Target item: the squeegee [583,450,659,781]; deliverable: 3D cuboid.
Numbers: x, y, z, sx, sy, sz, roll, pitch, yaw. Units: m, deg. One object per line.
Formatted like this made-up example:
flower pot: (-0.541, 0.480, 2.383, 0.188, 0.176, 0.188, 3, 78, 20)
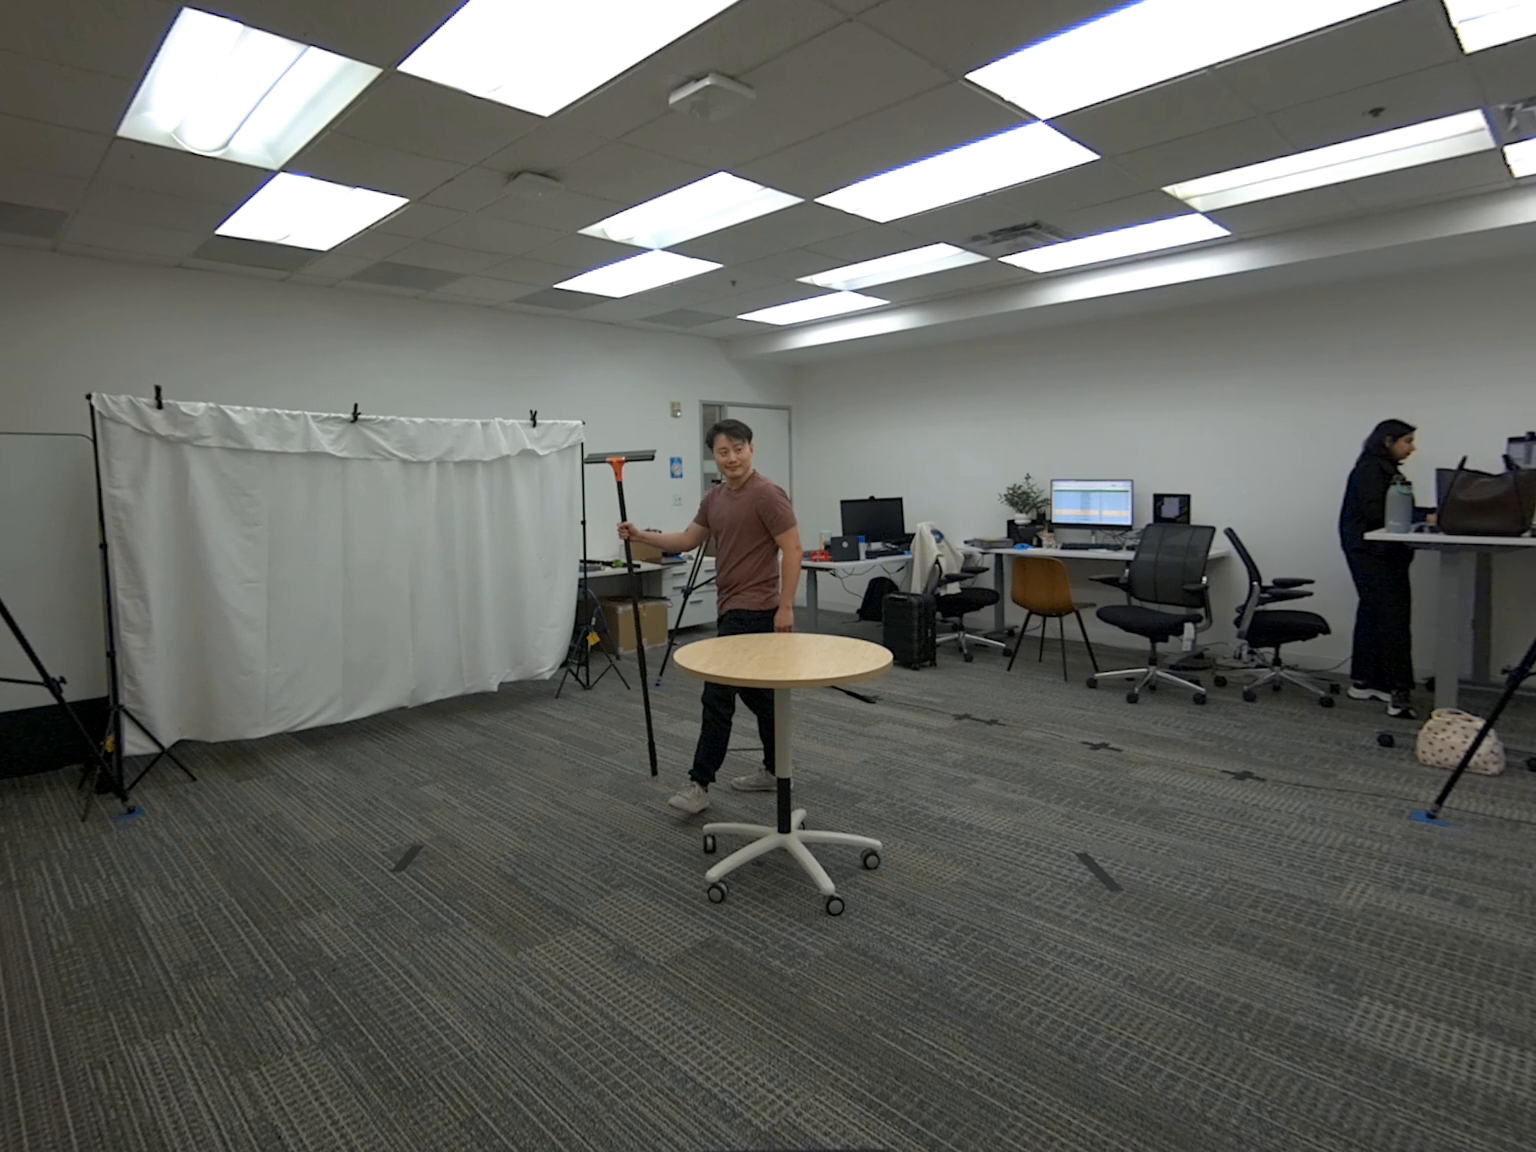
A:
squeegee: (-0.606, 0.197, 3.902, 0.450, 1.525, 0.052, 1, 10, 36)
